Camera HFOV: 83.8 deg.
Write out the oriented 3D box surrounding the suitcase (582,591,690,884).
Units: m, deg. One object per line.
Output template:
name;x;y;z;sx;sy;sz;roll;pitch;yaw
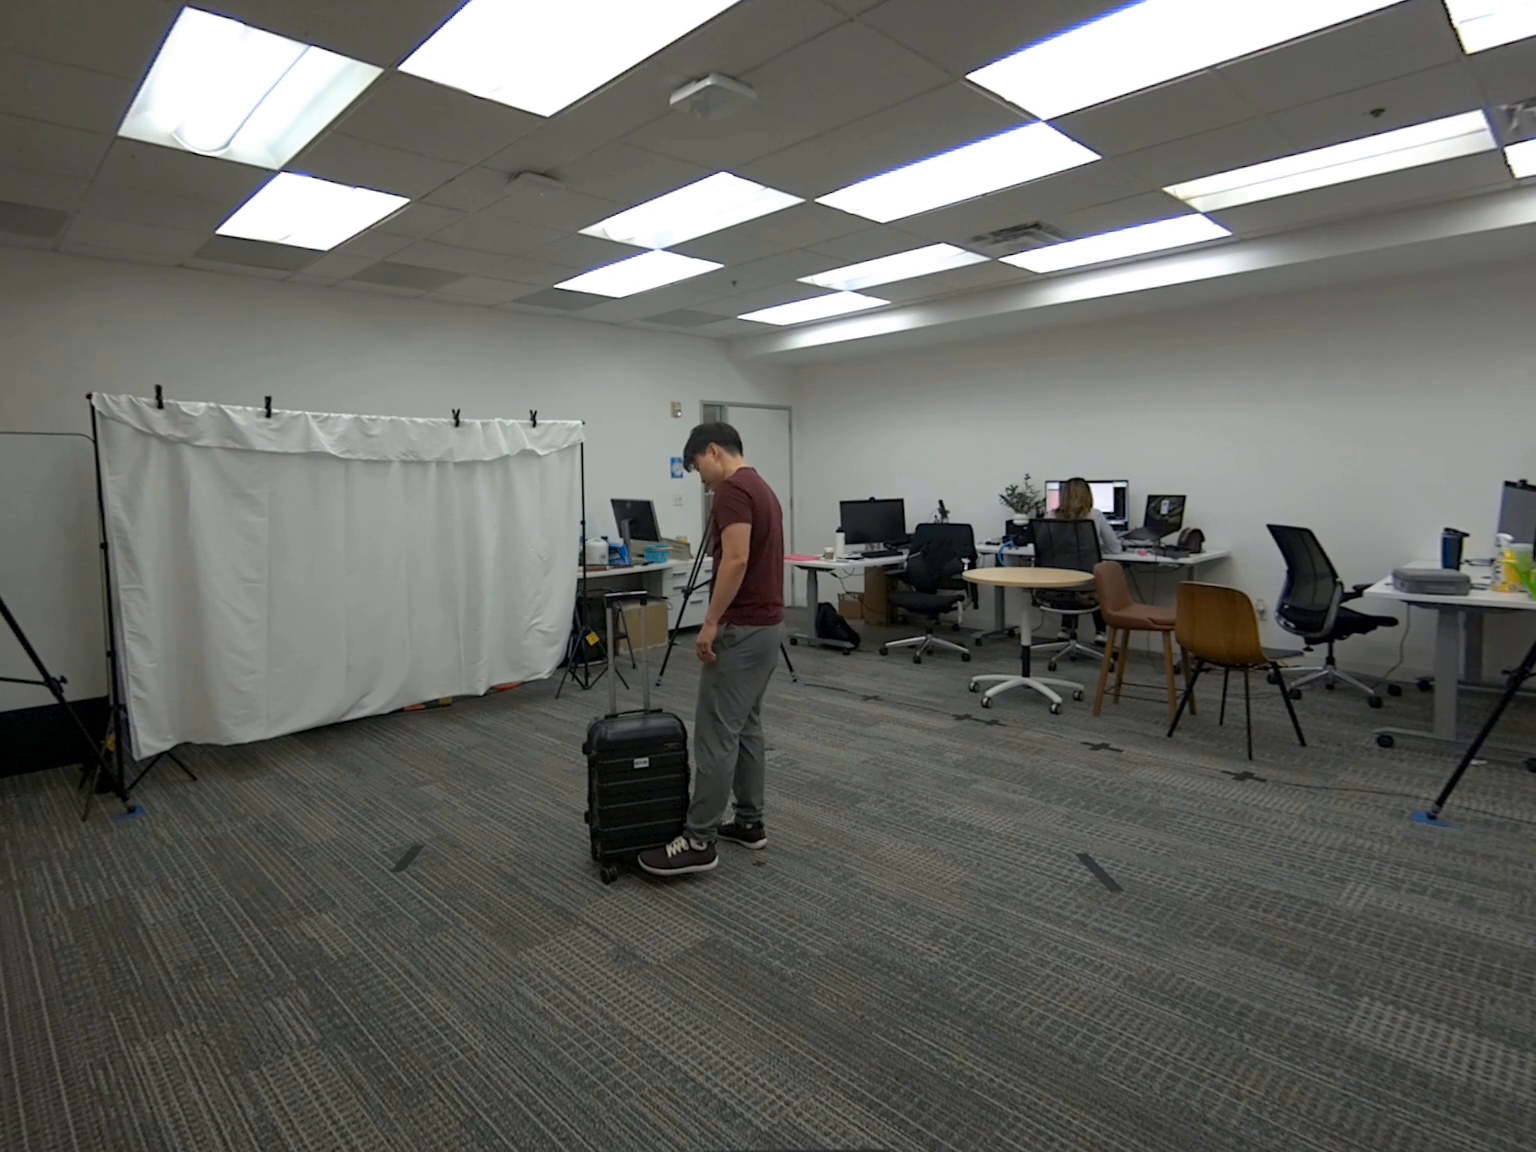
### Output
suitcase;-0.484;0.573;3.112;0.379;0.973;0.262;-4;6;-16
